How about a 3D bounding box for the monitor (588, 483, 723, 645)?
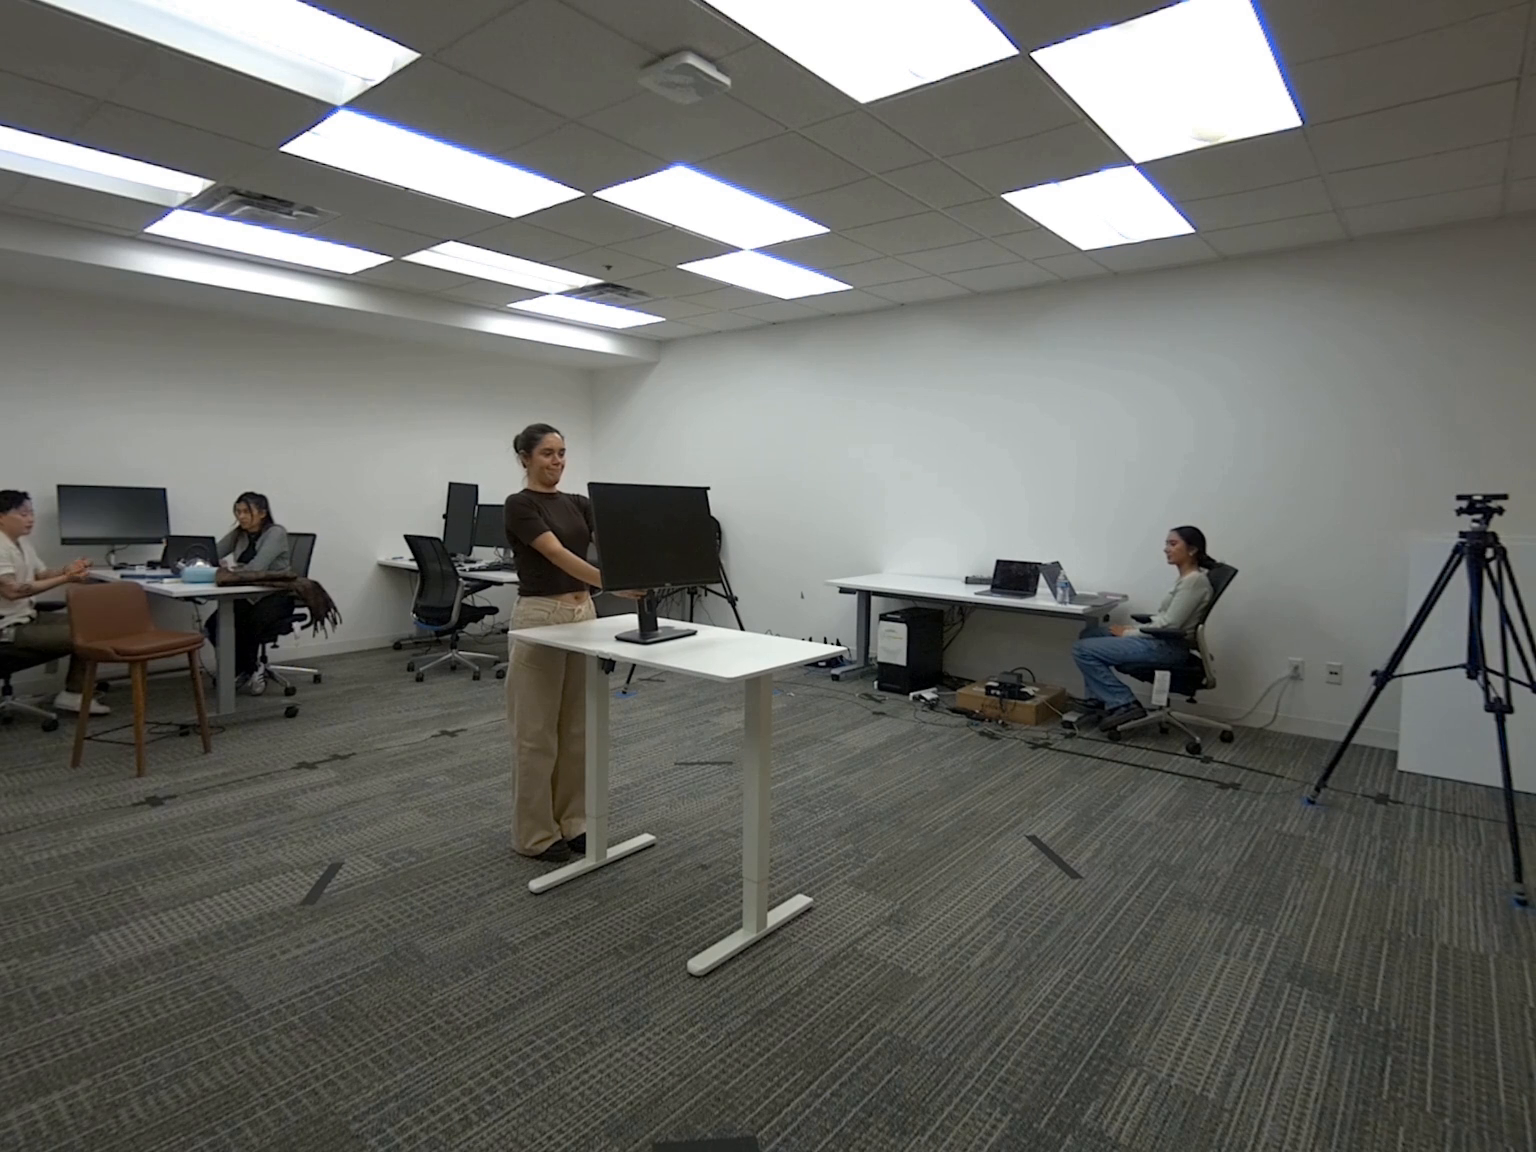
[{"bbox_3d":[-0.399,-0.048,2.869,0.193,0.522,0.523,1,2,39],"label":"monitor"}]
